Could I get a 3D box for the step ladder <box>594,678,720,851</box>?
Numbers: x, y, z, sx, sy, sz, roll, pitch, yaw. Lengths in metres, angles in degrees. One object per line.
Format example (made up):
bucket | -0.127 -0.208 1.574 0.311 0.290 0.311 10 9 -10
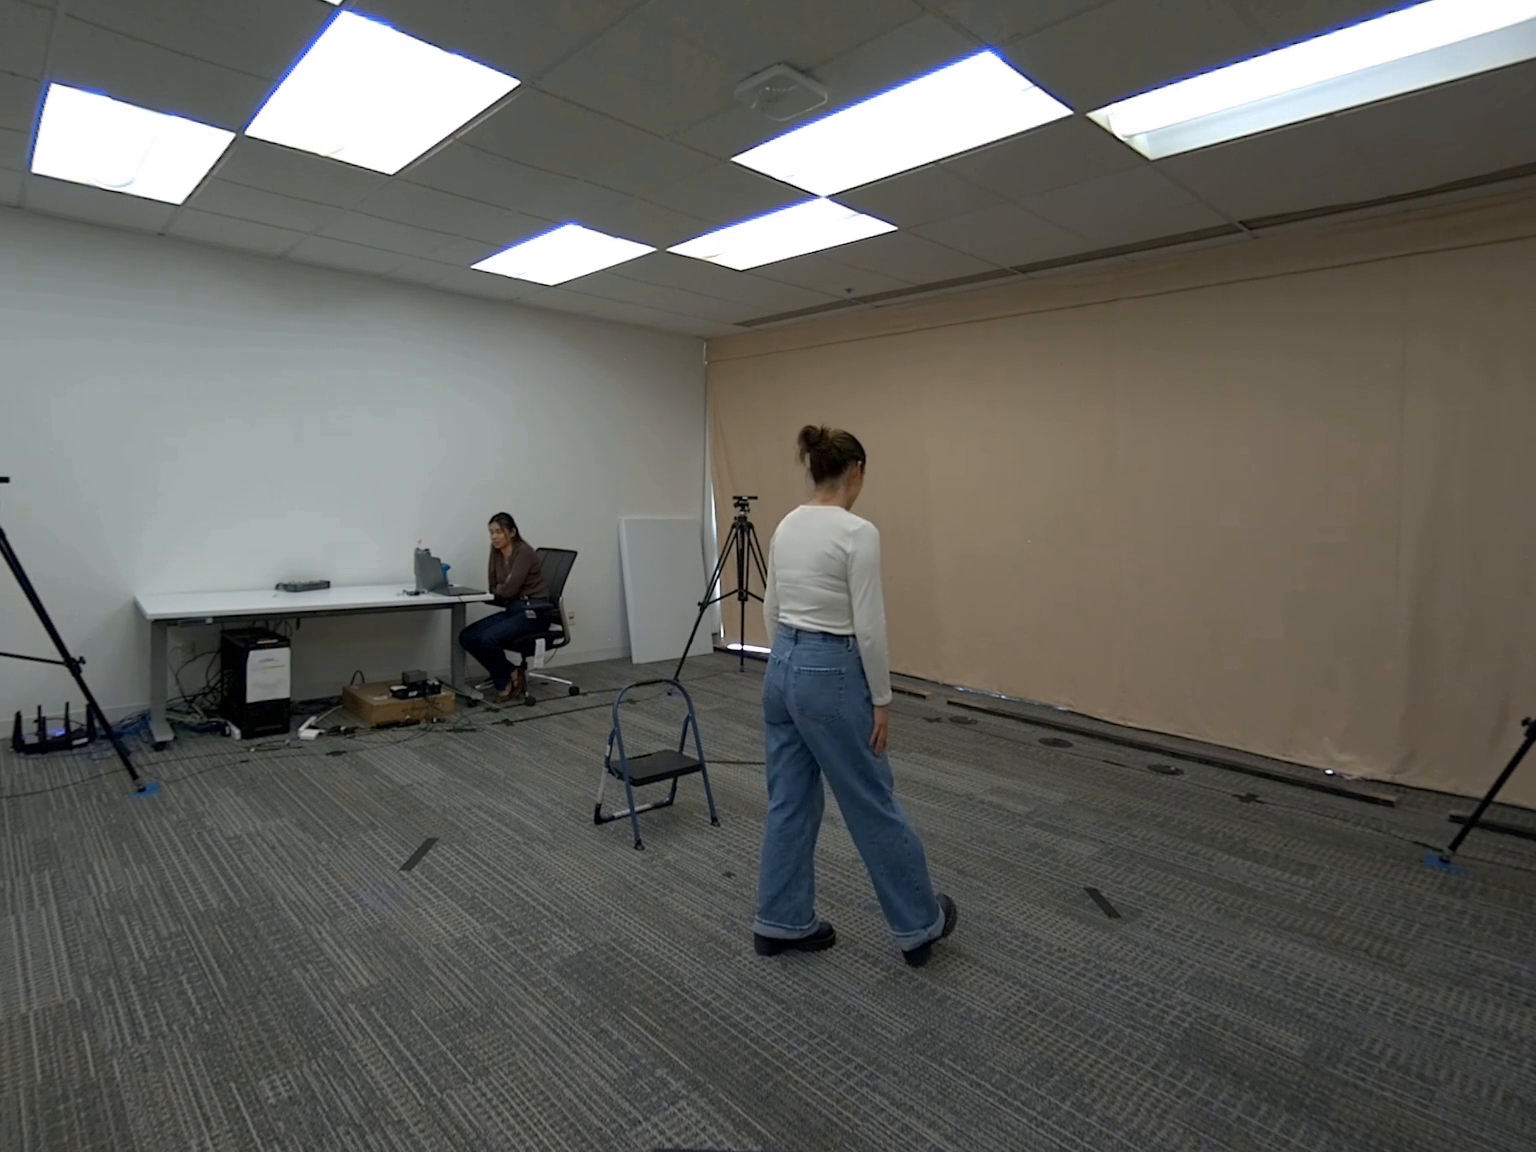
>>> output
step ladder | -0.471 0.753 3.552 0.421 0.605 0.358 -2 4 -44
